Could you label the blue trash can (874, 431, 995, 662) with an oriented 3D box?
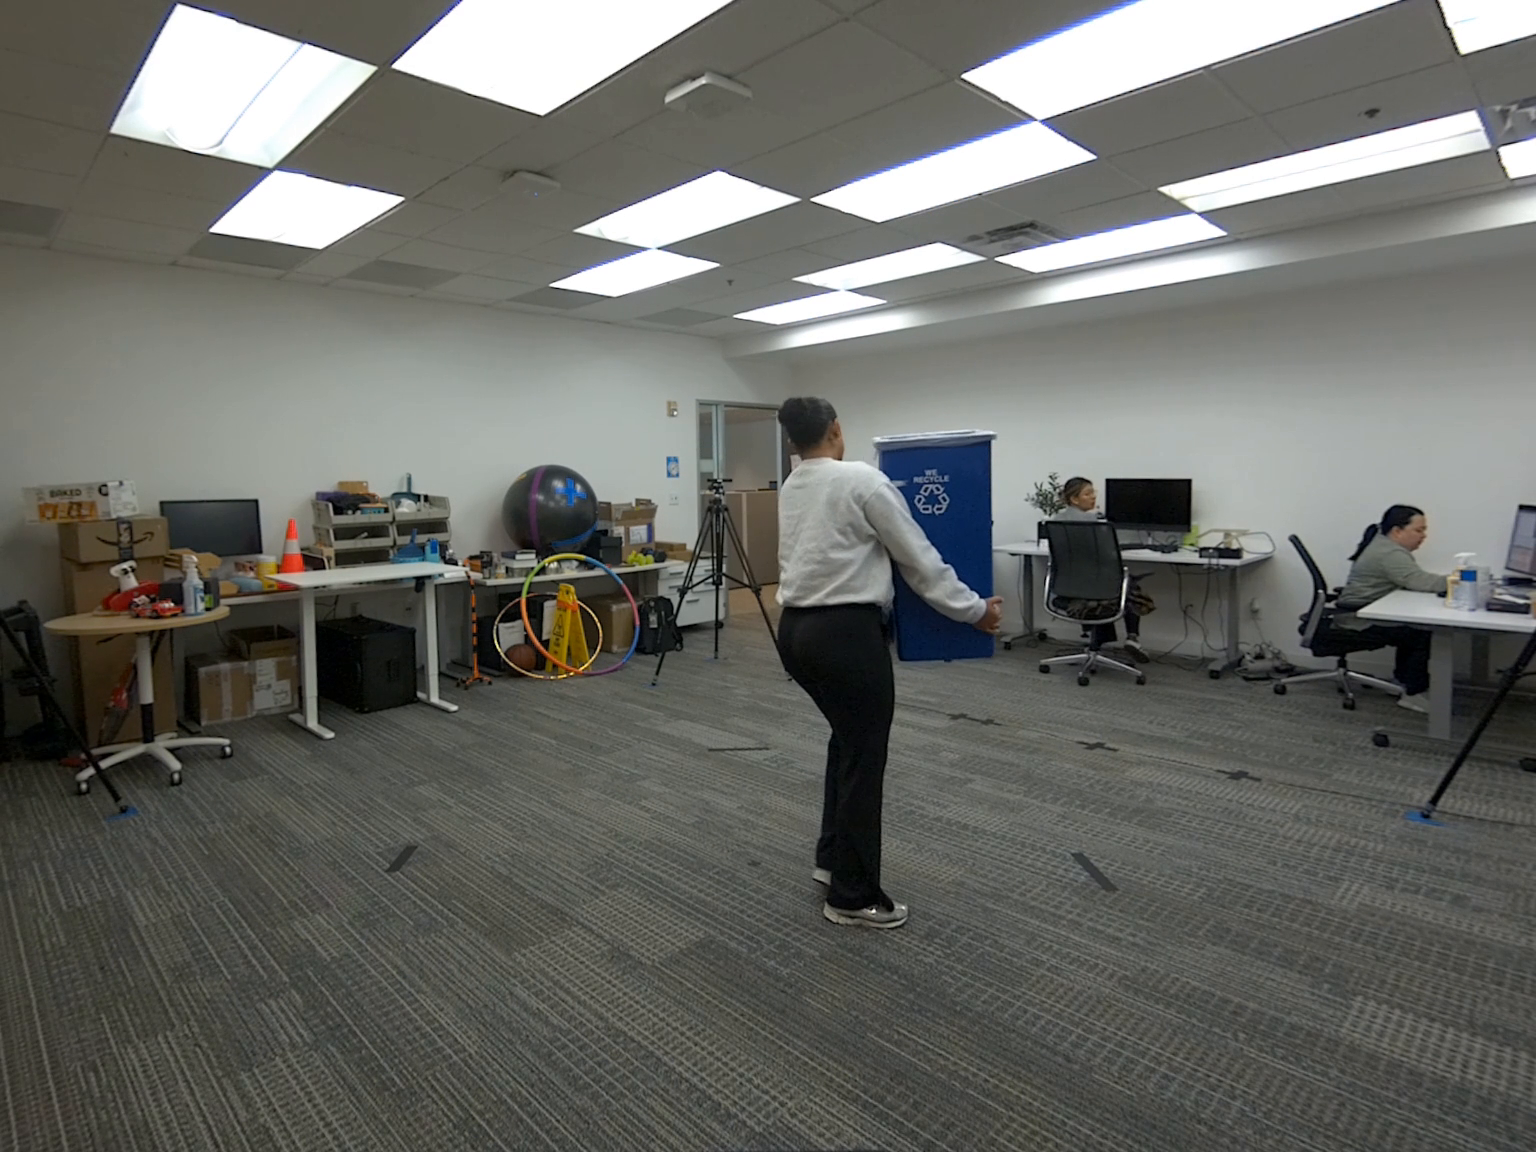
[{"bbox_3d":[0.553,-0.109,2.827,0.381,0.709,0.373,-3,7,9],"label":"blue trash can"}]
